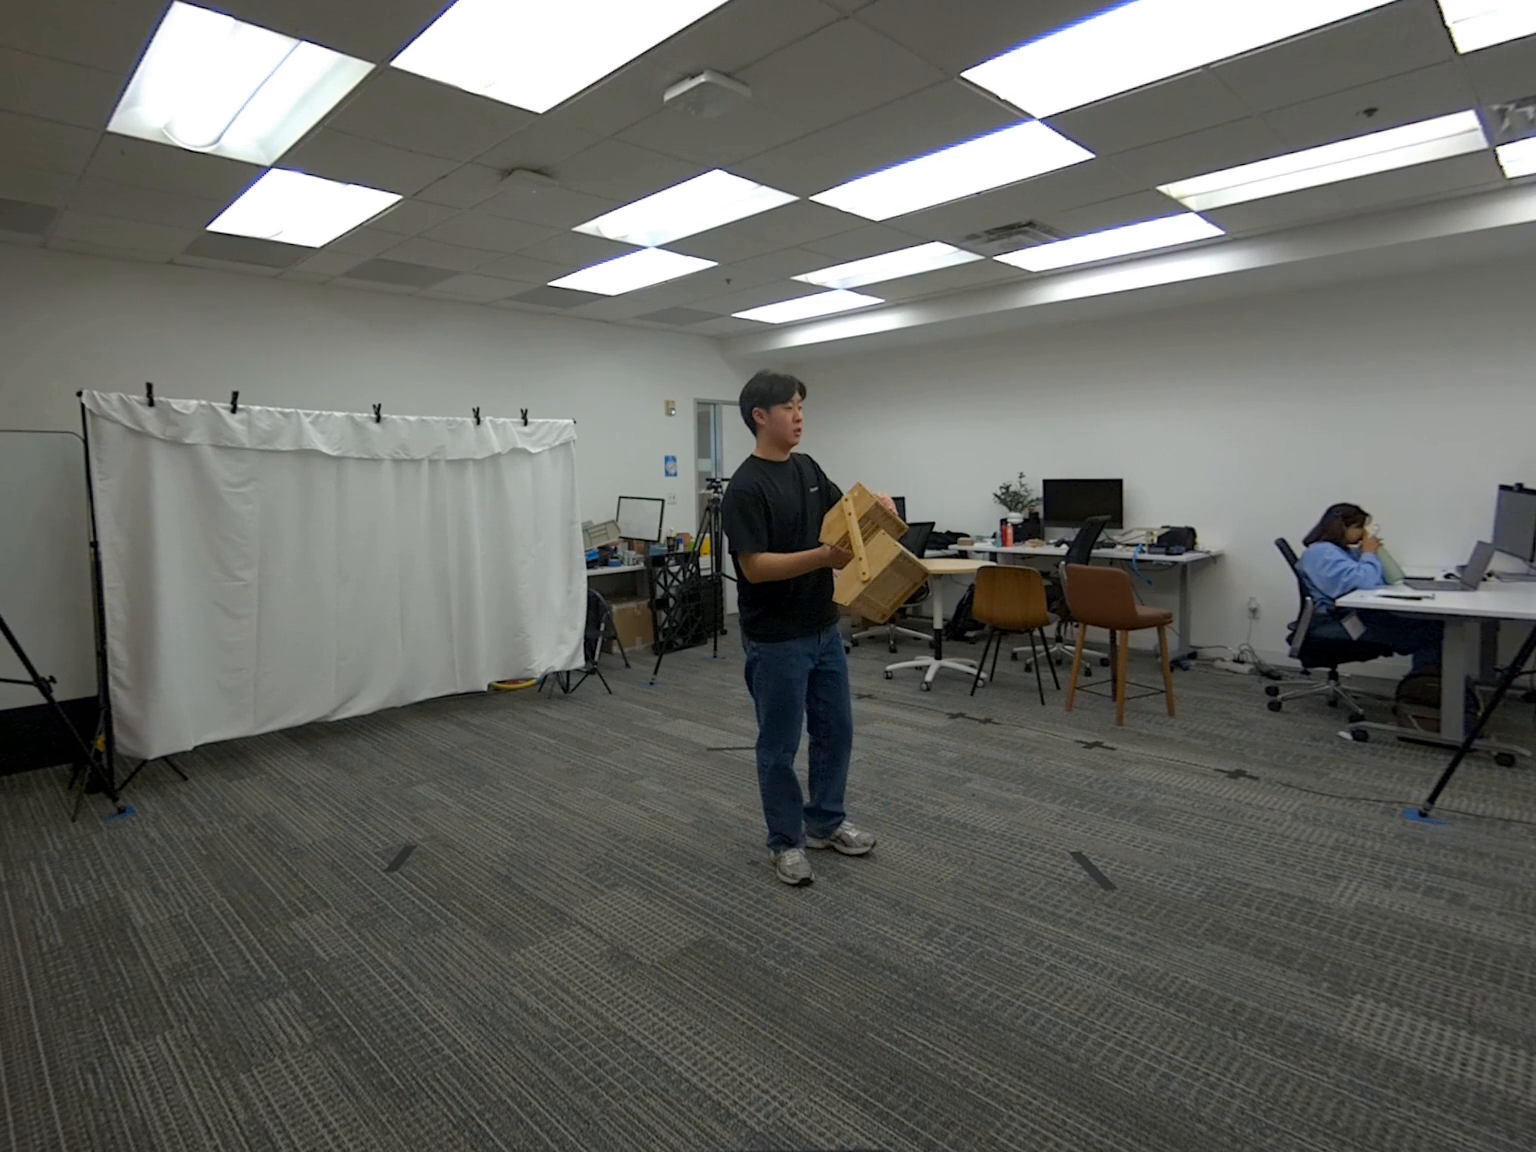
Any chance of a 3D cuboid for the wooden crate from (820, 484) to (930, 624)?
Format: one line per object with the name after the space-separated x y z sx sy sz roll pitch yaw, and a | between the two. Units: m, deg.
0.307 -0.062 2.661 0.283 0.302 0.313 49 10 29 | wooden crate
